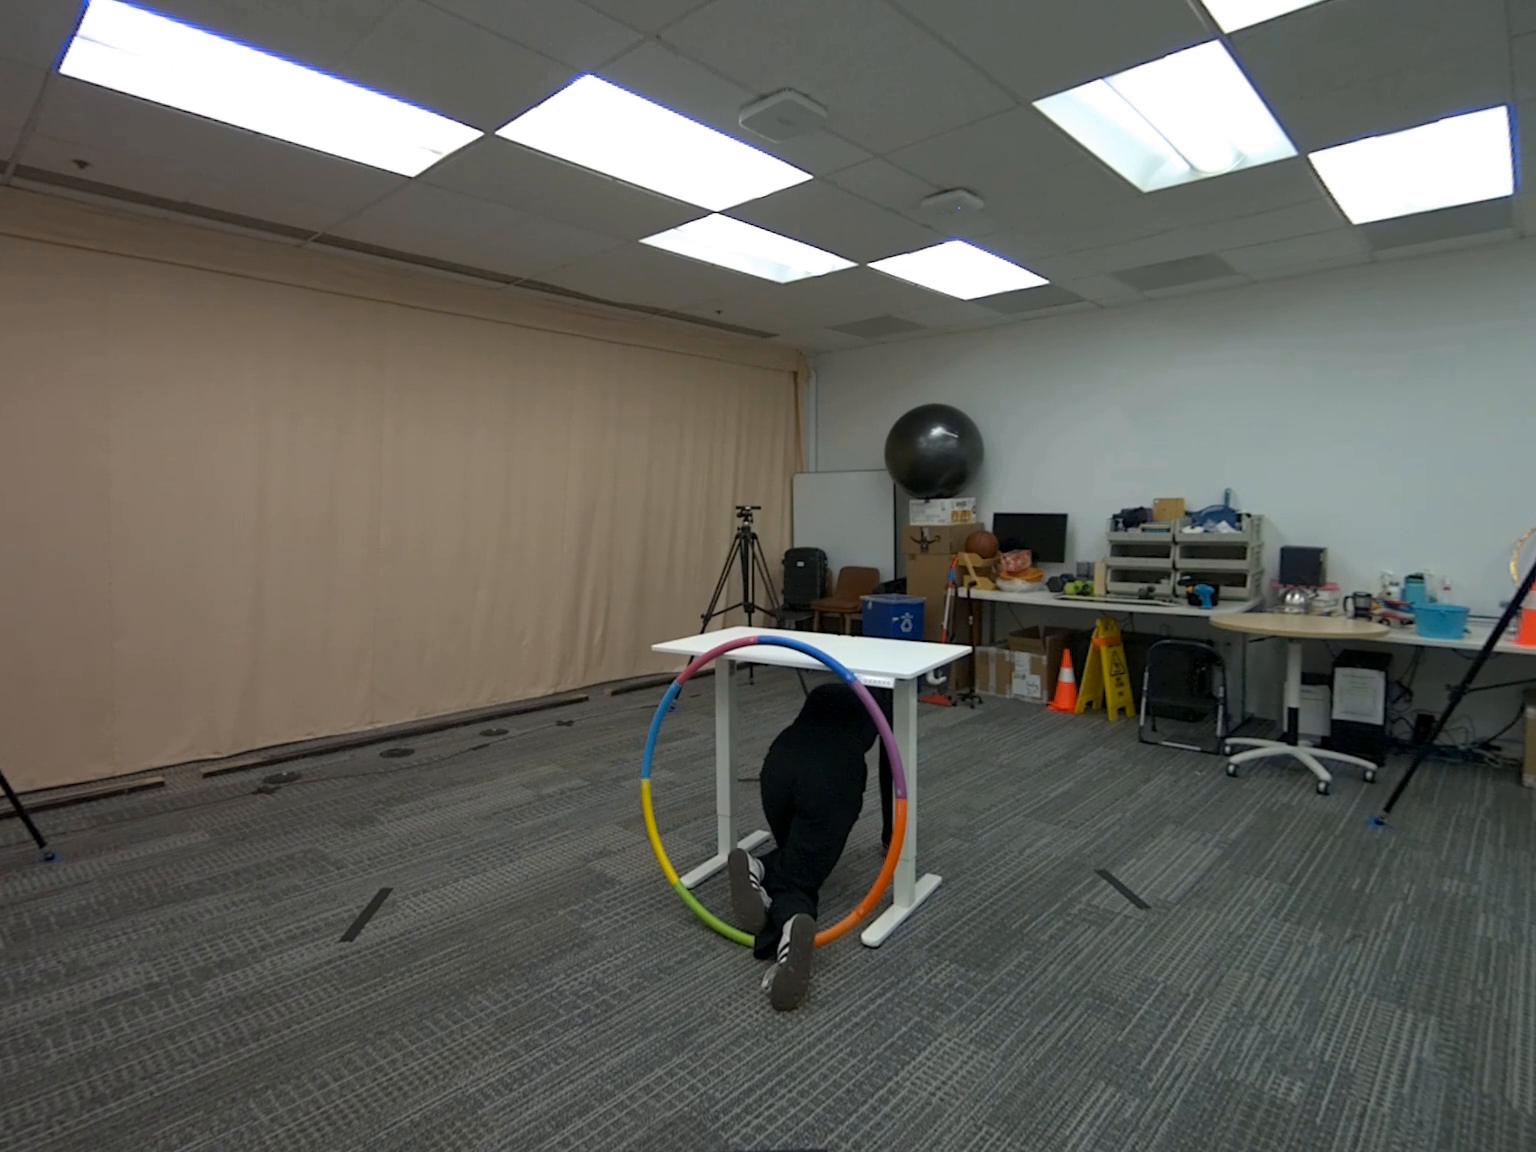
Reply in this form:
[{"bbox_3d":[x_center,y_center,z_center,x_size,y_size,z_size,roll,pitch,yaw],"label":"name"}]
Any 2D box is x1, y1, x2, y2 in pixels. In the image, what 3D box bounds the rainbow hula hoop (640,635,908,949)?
[{"bbox_3d":[-0.020,0.687,2.726,1.009,0.982,0.034,3,-7,34],"label":"rainbow hula hoop"}]
